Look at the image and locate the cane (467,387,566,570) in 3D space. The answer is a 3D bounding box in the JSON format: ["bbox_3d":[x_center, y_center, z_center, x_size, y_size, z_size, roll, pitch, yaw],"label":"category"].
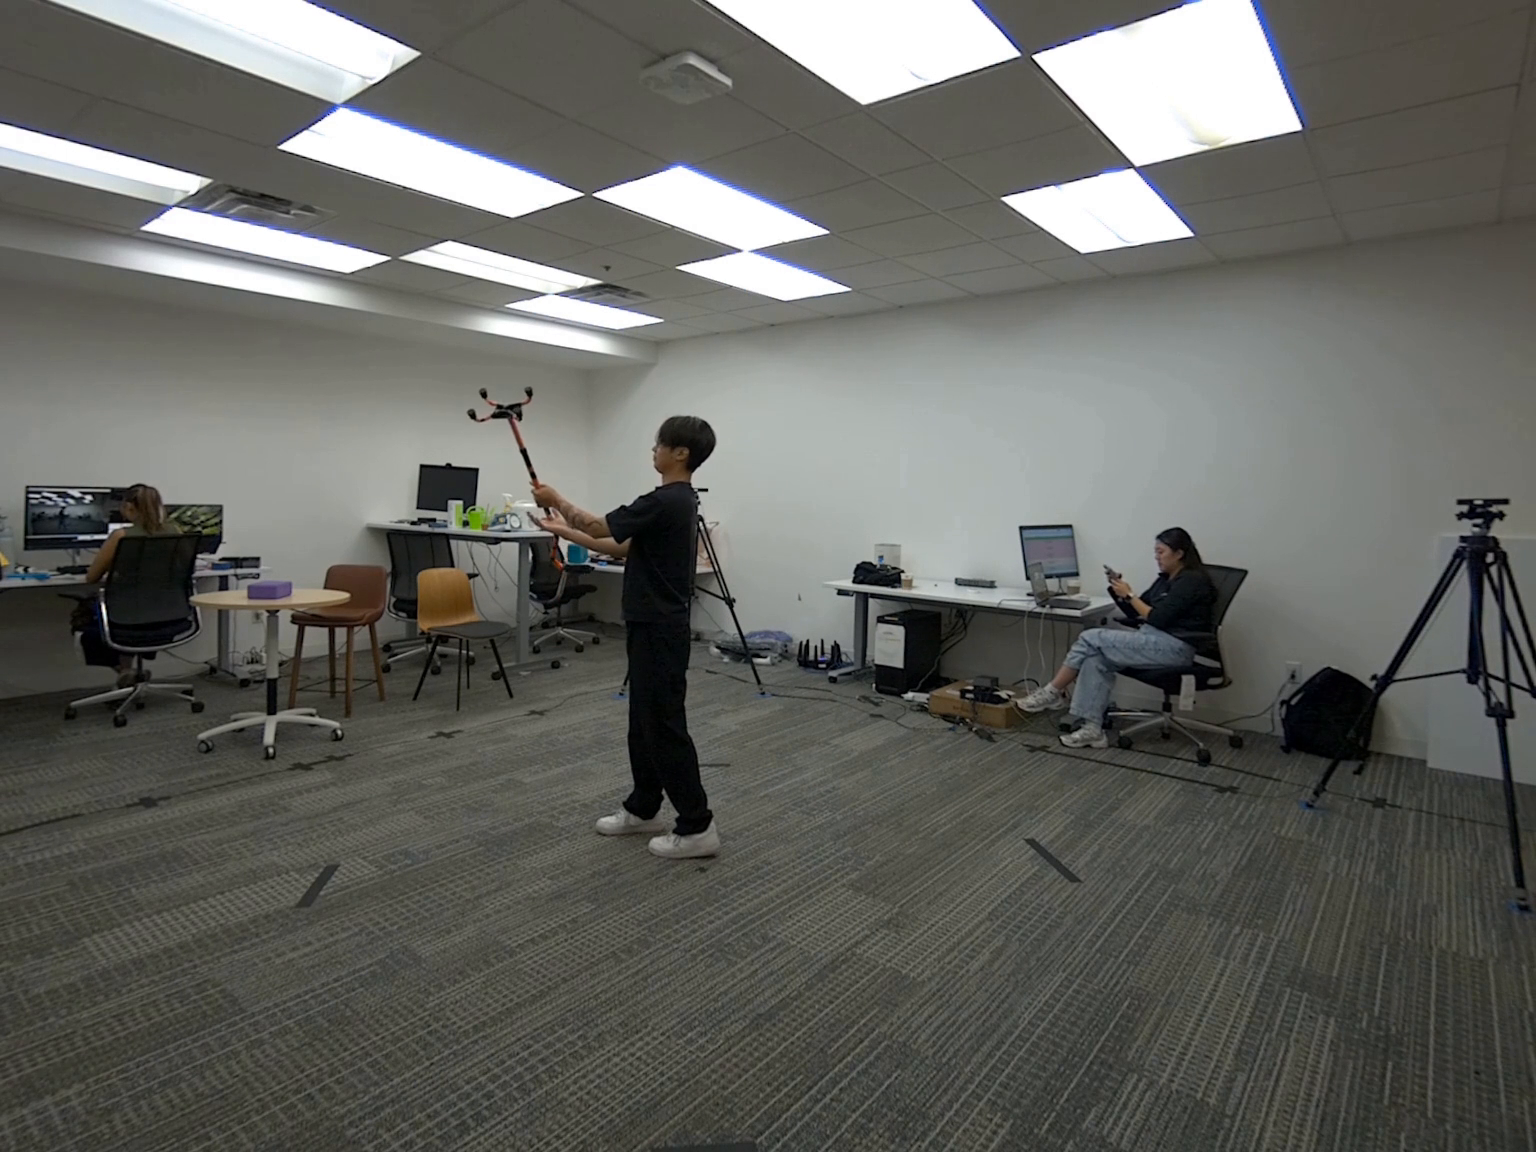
[{"bbox_3d":[-0.913,-0.322,3.306,0.209,0.877,0.155,1,45,12],"label":"cane"}]
